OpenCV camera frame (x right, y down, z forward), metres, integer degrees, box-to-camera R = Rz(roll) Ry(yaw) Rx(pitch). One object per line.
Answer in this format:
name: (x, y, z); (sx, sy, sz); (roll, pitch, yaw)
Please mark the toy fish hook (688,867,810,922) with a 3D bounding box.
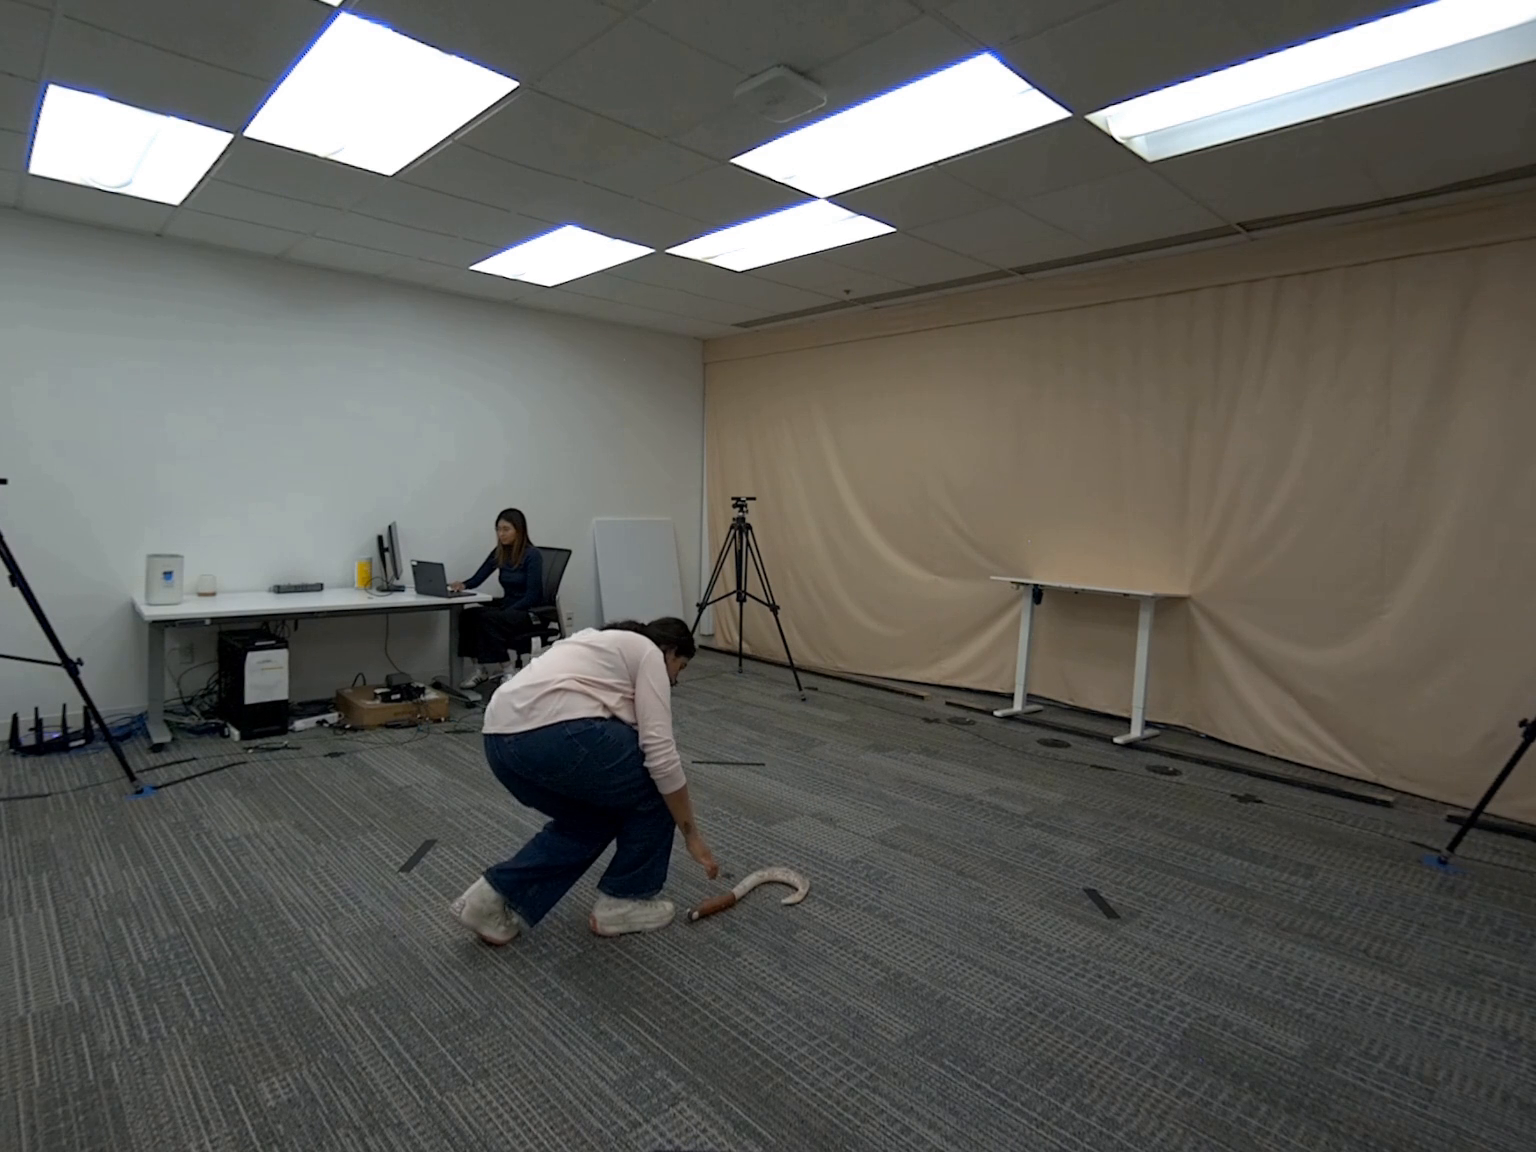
toy fish hook: (-0.059, 1.106, 2.890); (0.230, 0.048, 0.495); (4, 7, 43)
